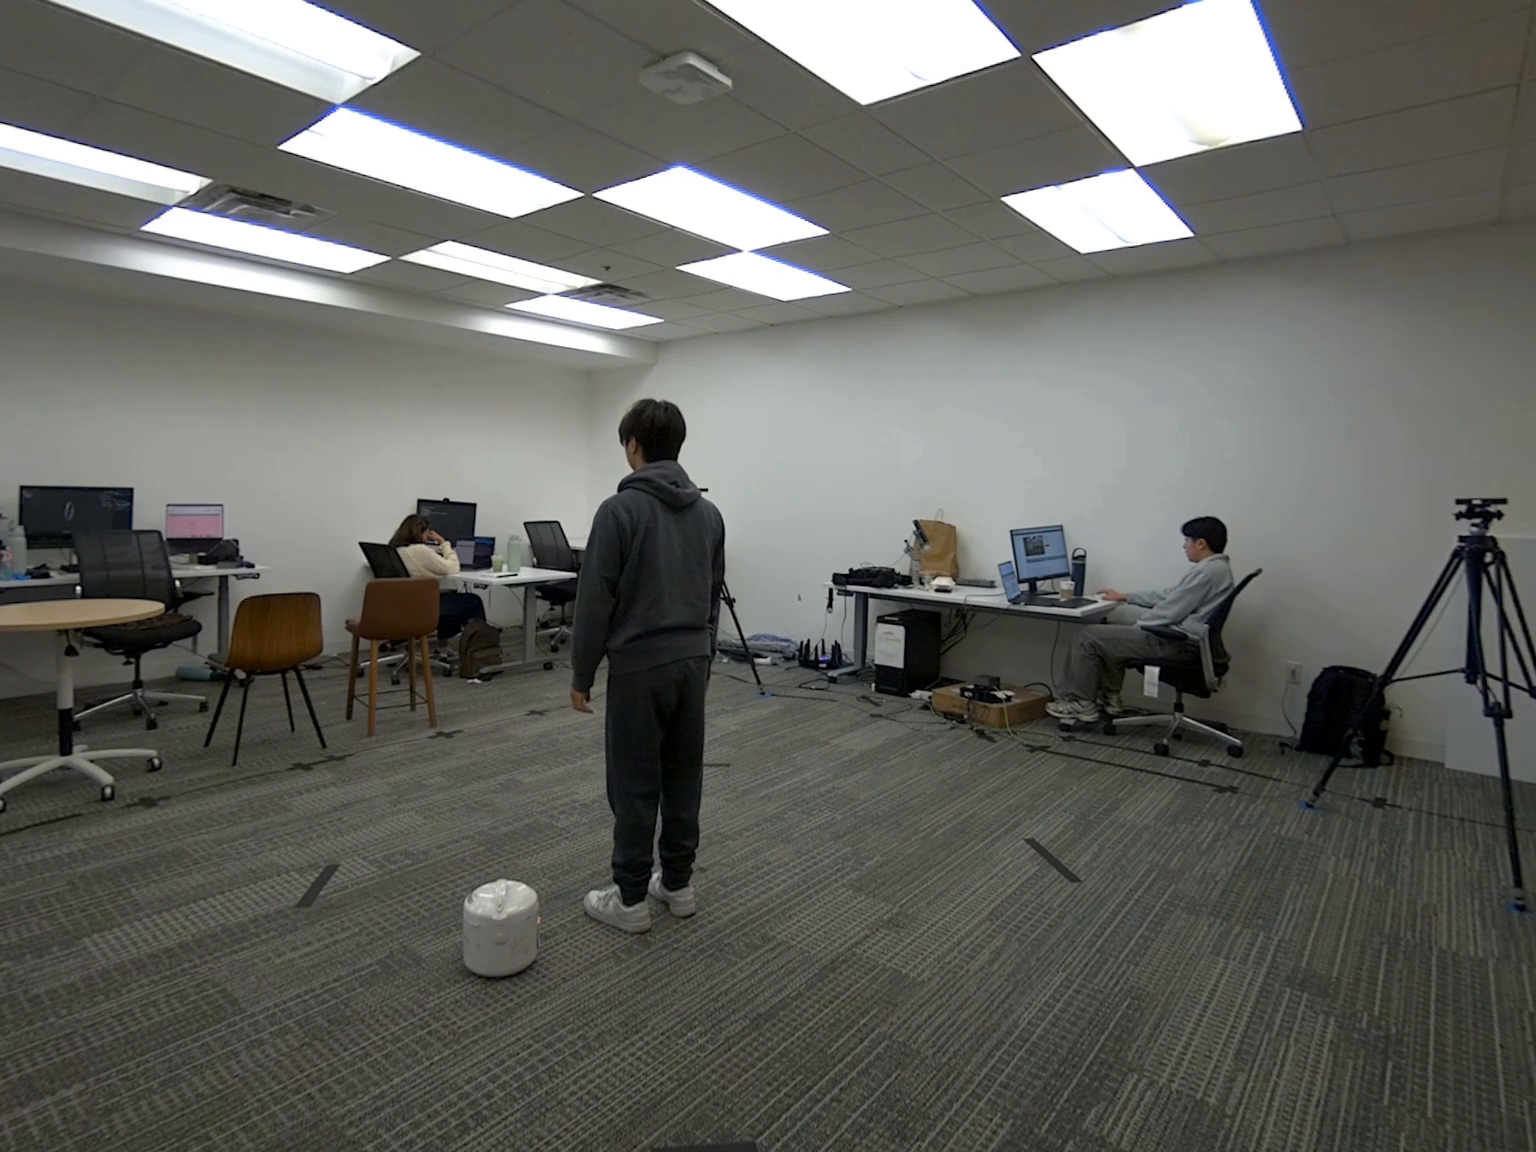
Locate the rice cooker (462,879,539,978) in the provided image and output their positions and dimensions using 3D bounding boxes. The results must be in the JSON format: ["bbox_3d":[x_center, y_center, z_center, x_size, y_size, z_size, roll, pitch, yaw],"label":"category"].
[{"bbox_3d":[-0.784,1.010,2.477,0.215,0.232,0.224,0,4,-13],"label":"rice cooker"}]
